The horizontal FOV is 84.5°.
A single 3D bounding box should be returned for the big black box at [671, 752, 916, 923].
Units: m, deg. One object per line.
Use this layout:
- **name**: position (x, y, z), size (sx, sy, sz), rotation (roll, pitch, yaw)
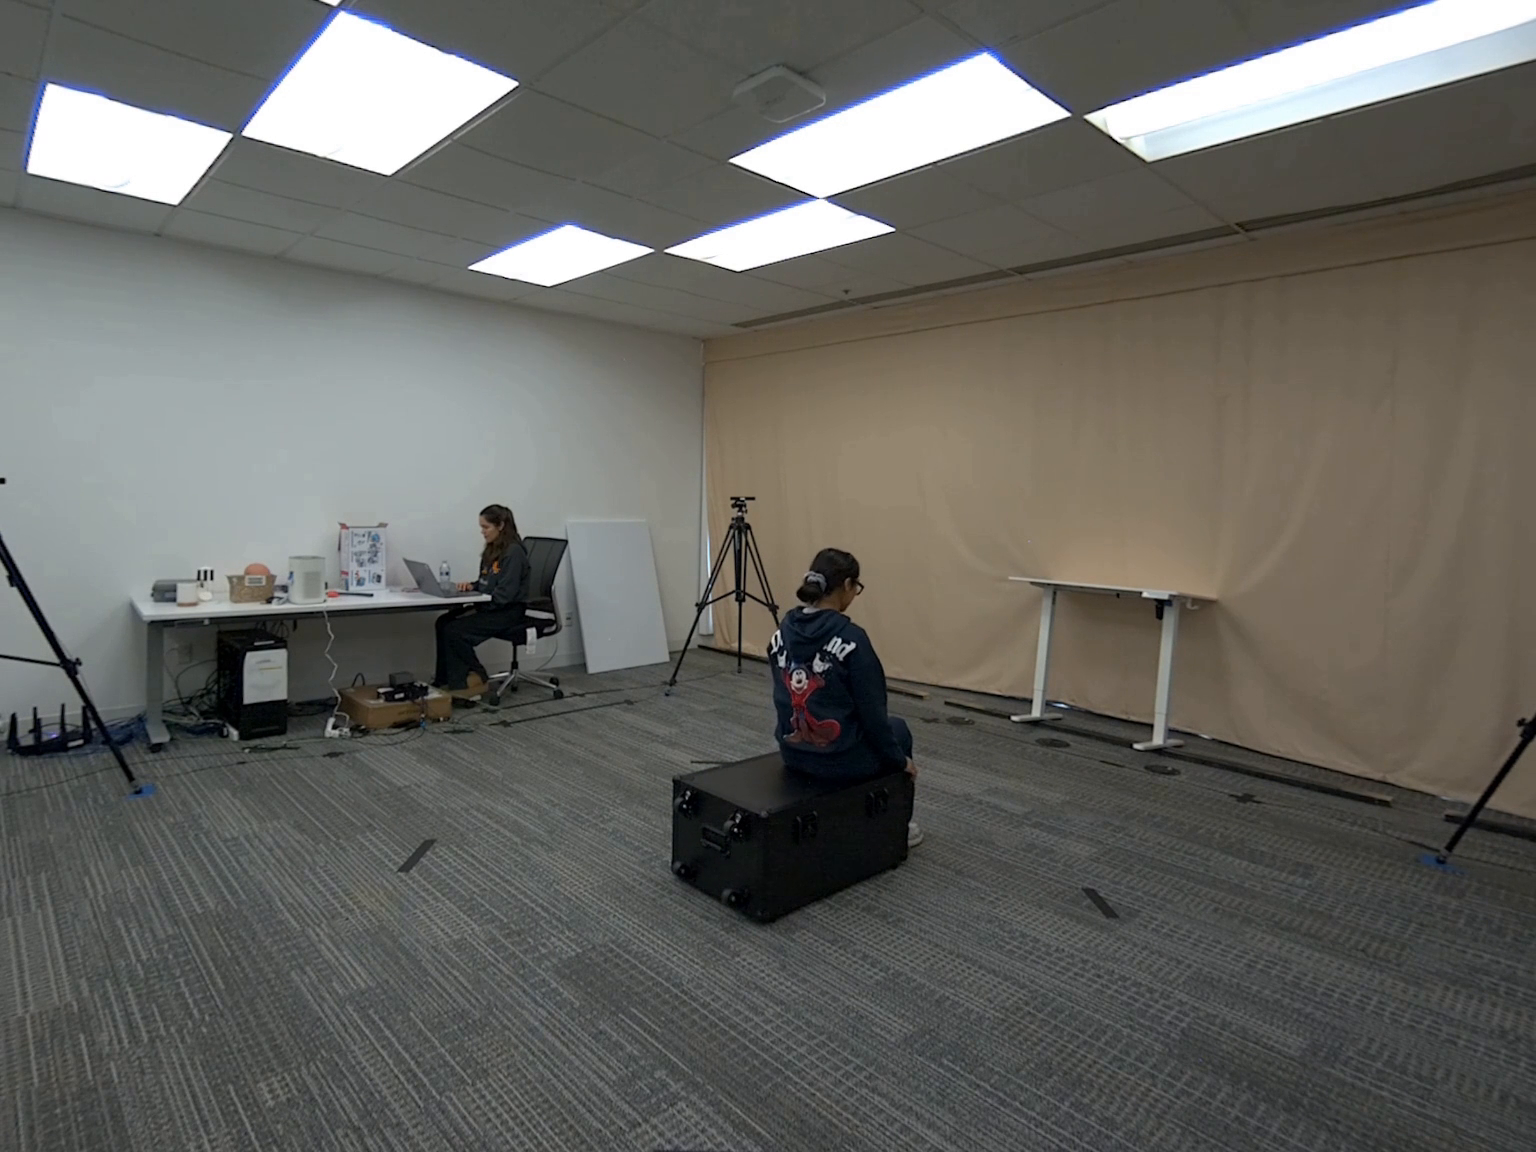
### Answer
- **big black box**: position (0.062, 0.924, 3.124), size (0.841, 0.395, 0.534), rotation (-1, 5, -44)
